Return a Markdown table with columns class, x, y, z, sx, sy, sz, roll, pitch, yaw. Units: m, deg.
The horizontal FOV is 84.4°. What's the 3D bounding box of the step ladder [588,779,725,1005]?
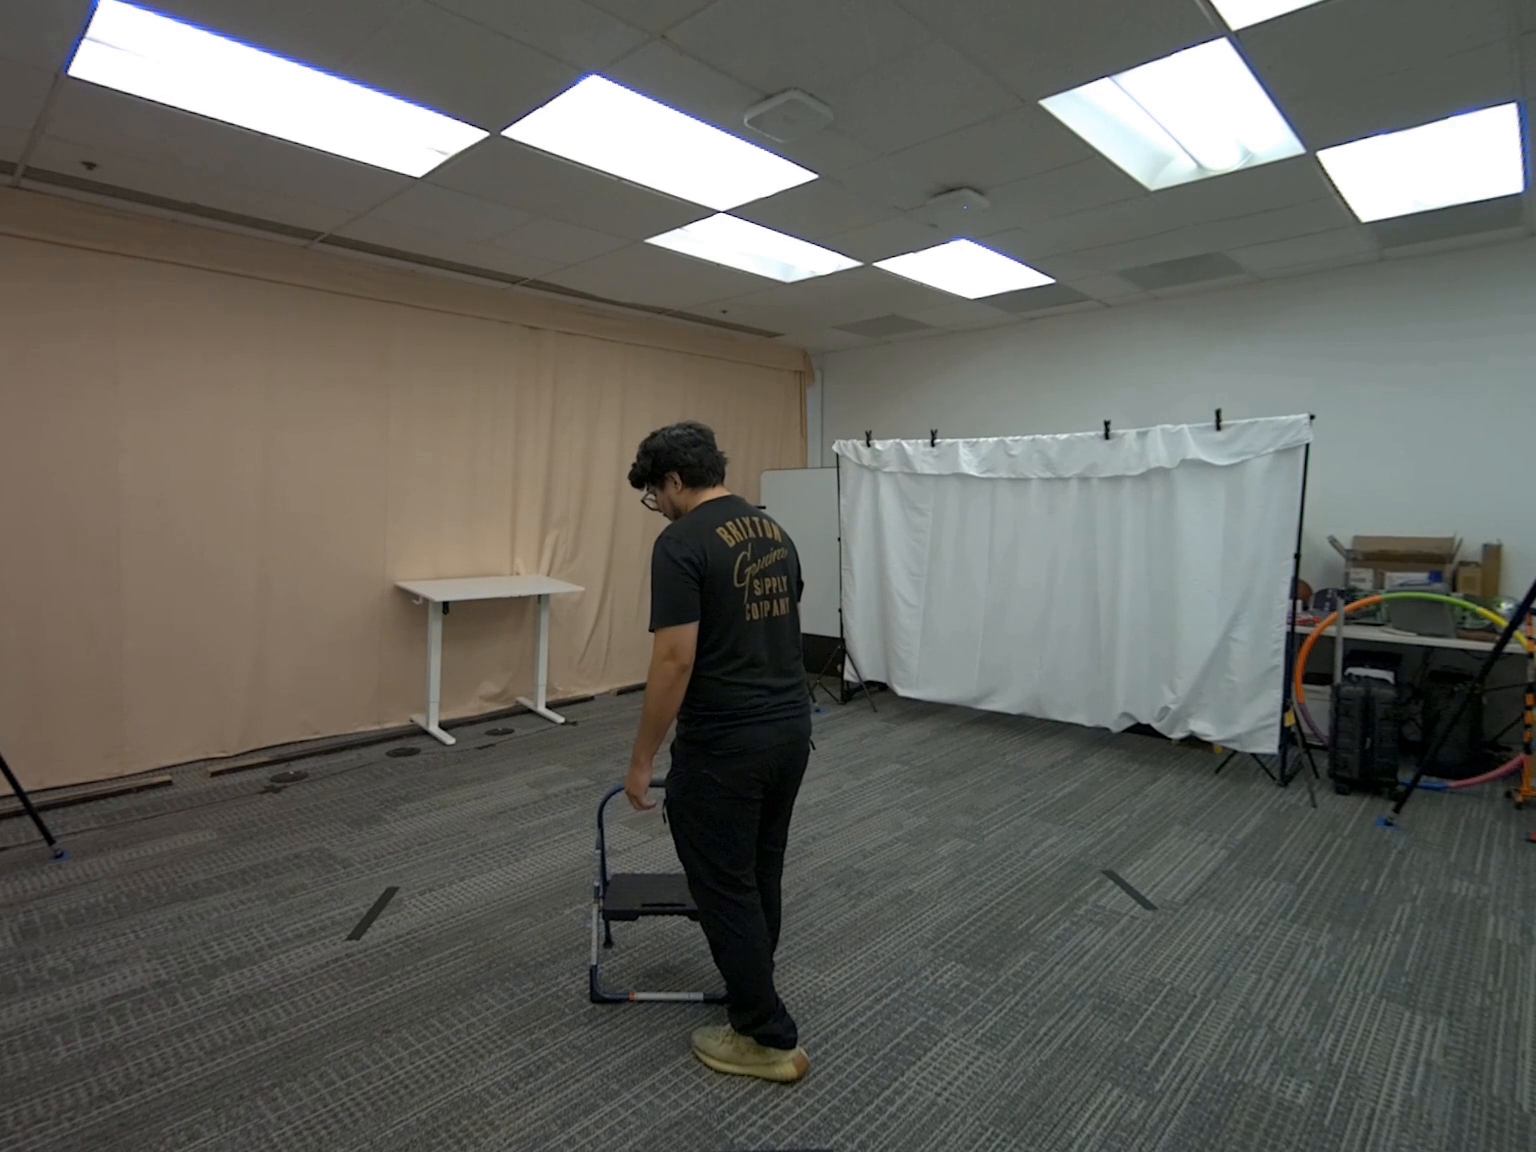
| class | x | y | z | sx | sy | sz | roll | pitch | yaw |
| --- | --- | --- | --- | --- | --- | --- | --- | --- | --- |
| step ladder | -0.306 | 0.887 | 2.505 | 0.430 | 0.605 | 0.350 | 0 | 2 | -2 |
